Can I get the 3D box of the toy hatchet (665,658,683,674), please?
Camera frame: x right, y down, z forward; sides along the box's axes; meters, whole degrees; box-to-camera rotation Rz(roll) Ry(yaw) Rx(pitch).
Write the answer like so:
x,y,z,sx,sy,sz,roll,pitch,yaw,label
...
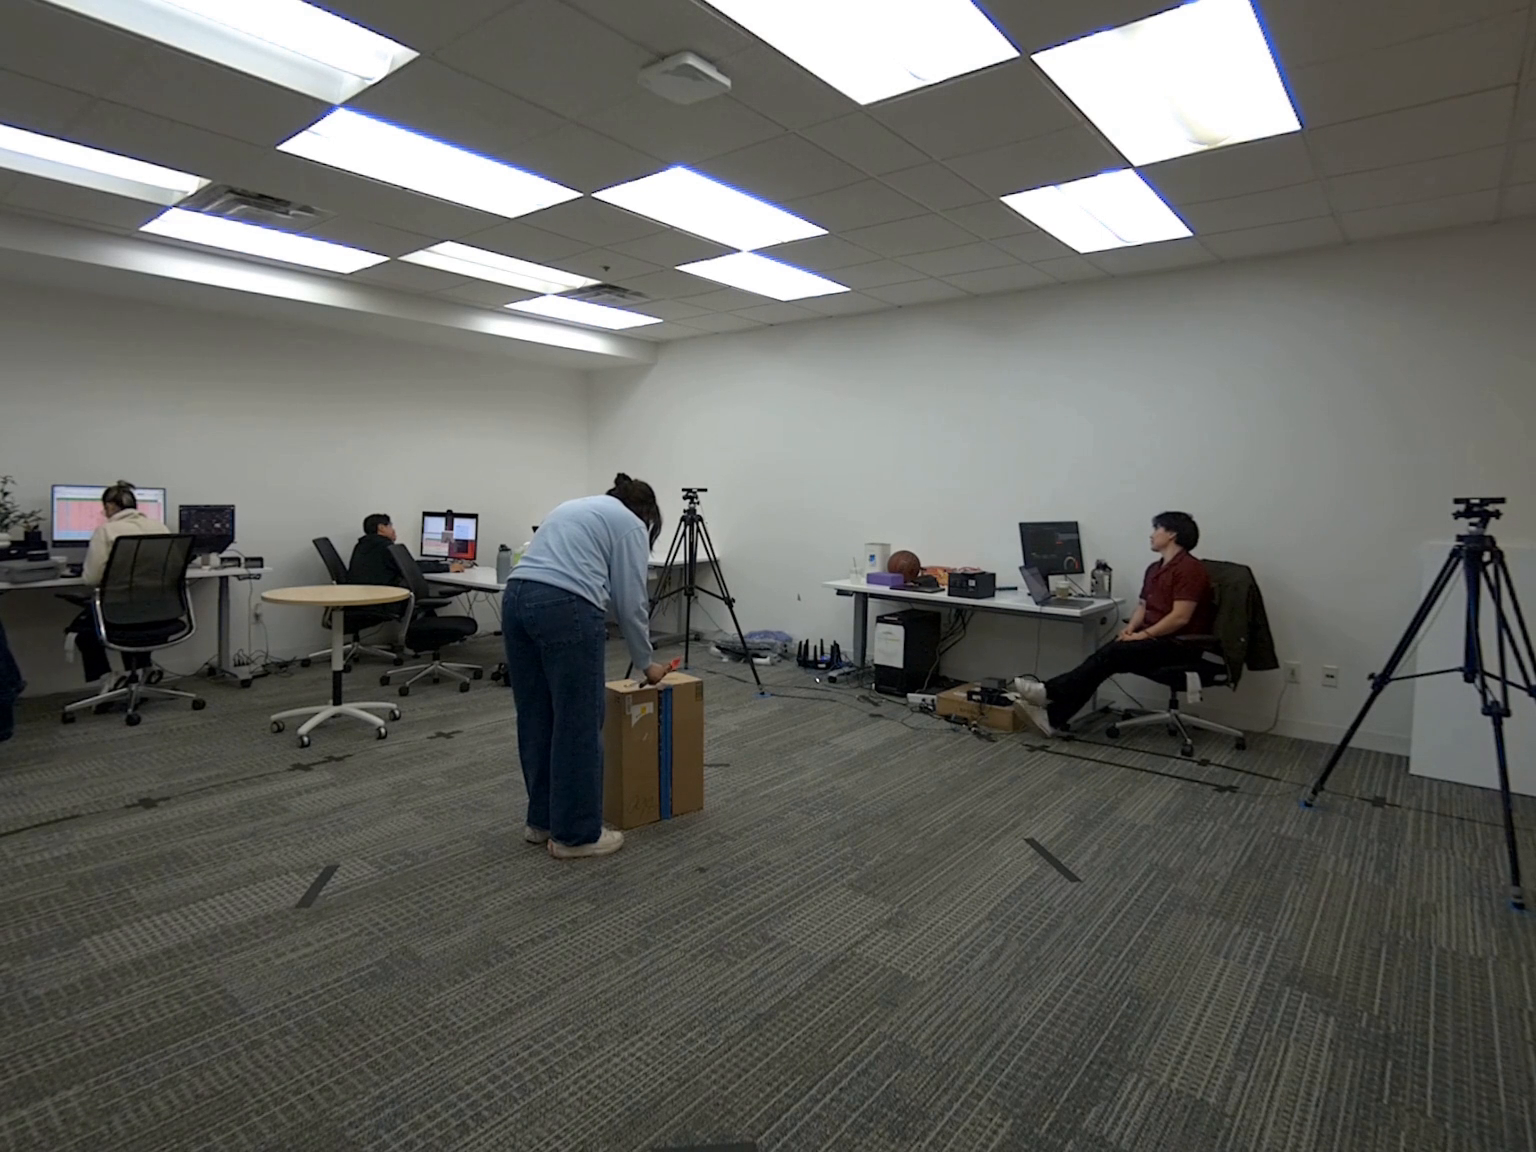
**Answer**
x,y,z,sx,sy,sz,roll,pitch,yaw,label
-0.481,0.416,3.503,0.132,0.030,0.266,-33,-1,37,toy hatchet
